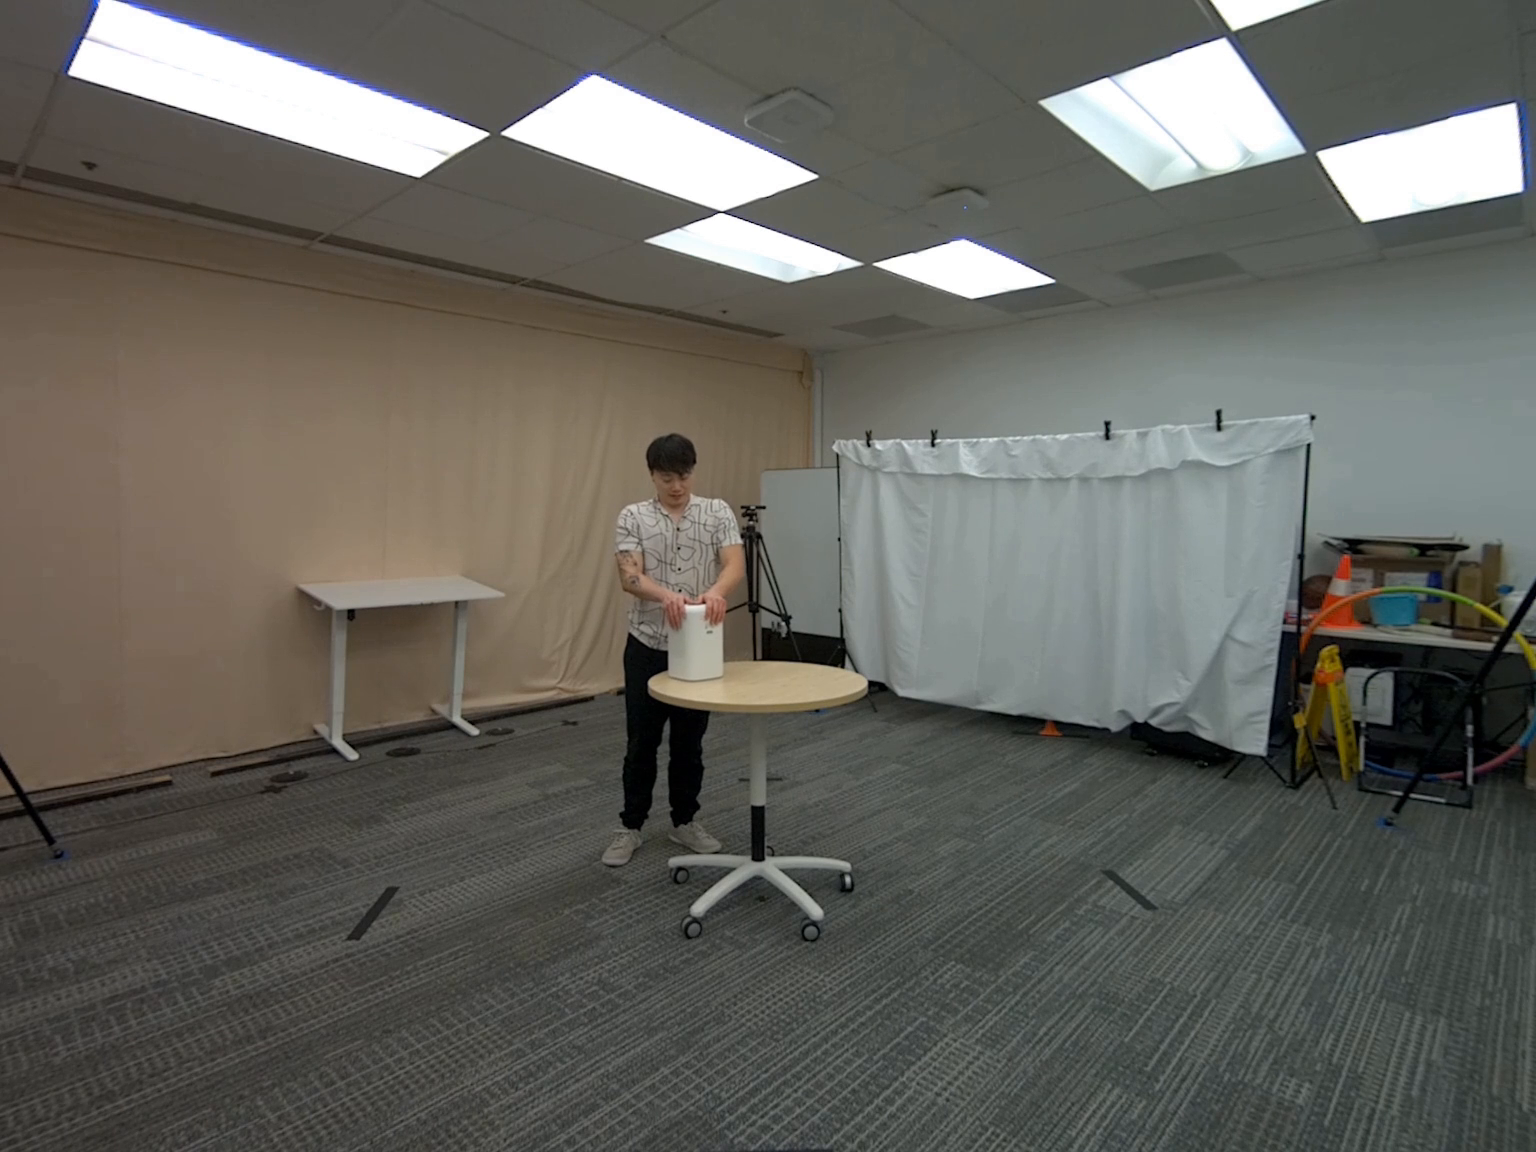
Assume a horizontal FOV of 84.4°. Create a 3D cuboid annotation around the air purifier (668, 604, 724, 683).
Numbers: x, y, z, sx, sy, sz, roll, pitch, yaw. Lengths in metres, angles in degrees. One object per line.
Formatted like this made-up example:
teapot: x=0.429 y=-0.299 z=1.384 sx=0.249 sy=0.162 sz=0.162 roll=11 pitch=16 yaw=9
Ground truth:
air purifier: x=-0.258 y=0.230 z=3.033 sx=0.166 sy=0.265 sz=0.177 roll=-2 pitch=2 yaw=-38
